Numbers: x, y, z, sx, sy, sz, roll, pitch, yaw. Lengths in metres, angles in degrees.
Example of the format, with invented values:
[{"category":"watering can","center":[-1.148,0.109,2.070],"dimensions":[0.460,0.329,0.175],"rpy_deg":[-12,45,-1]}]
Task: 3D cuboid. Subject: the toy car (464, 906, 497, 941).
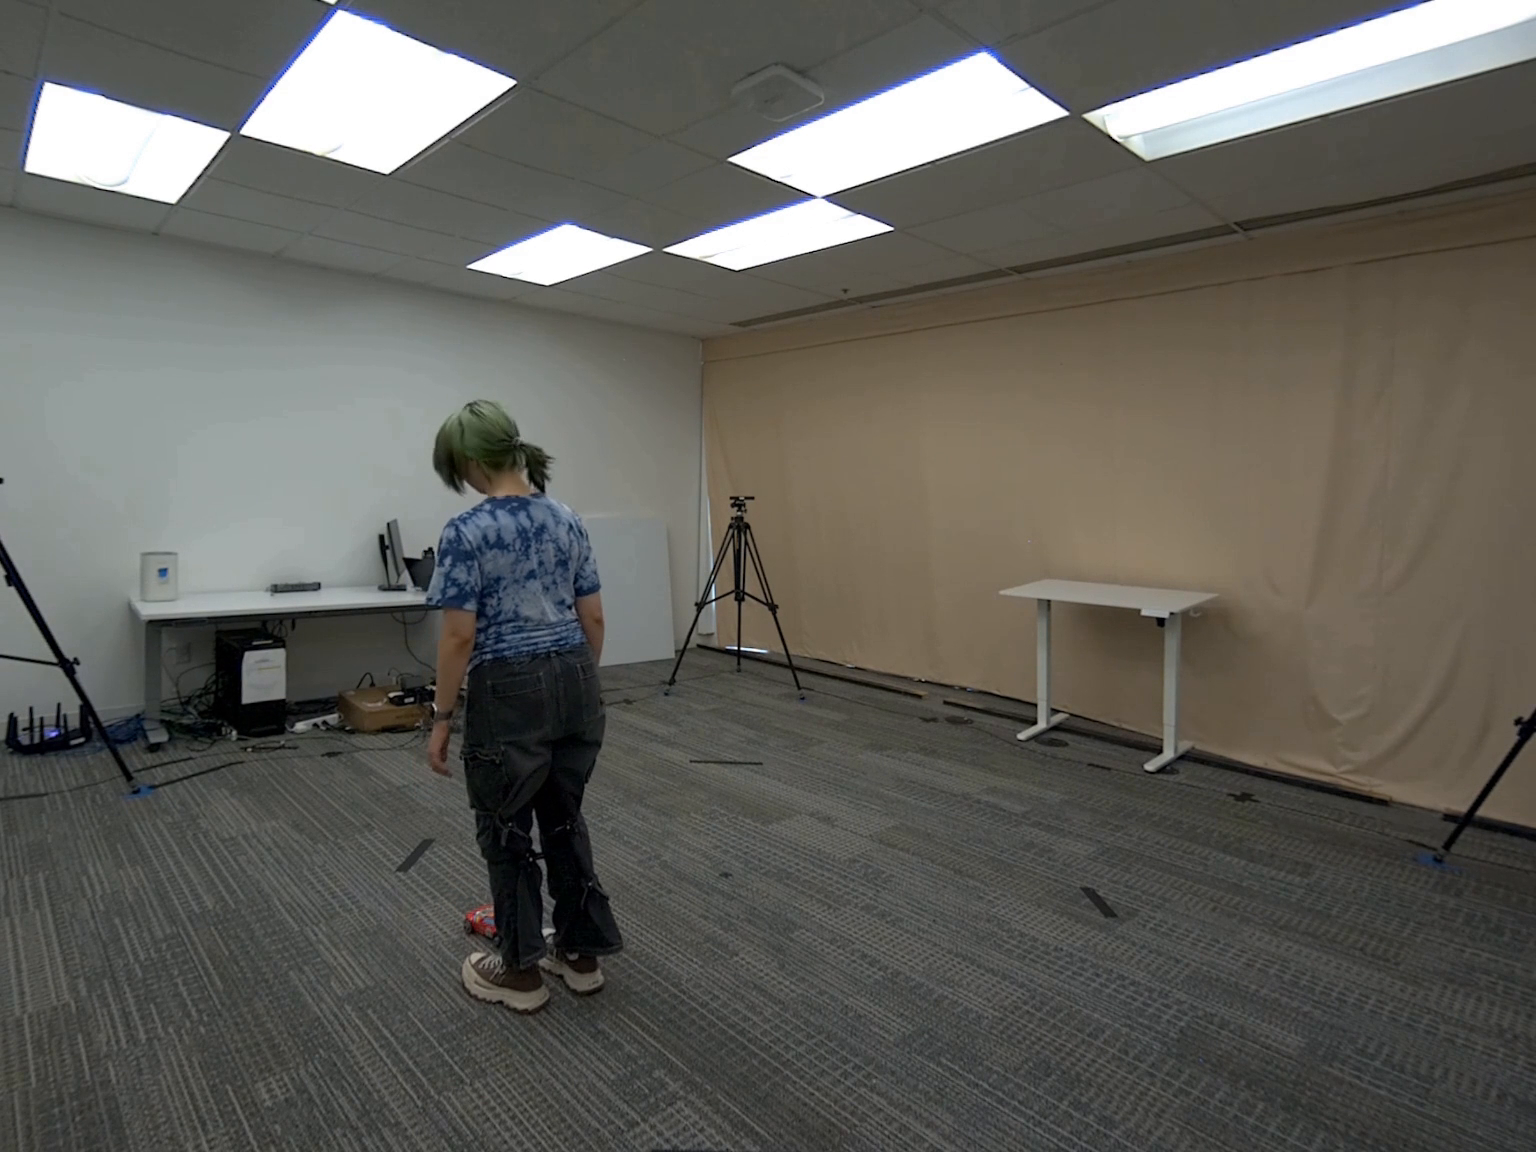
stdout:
[{"category":"toy car","center":[-0.845,1.105,2.640],"dimensions":[0.259,0.083,0.127],"rpy_deg":[-8,-2,35]}]
